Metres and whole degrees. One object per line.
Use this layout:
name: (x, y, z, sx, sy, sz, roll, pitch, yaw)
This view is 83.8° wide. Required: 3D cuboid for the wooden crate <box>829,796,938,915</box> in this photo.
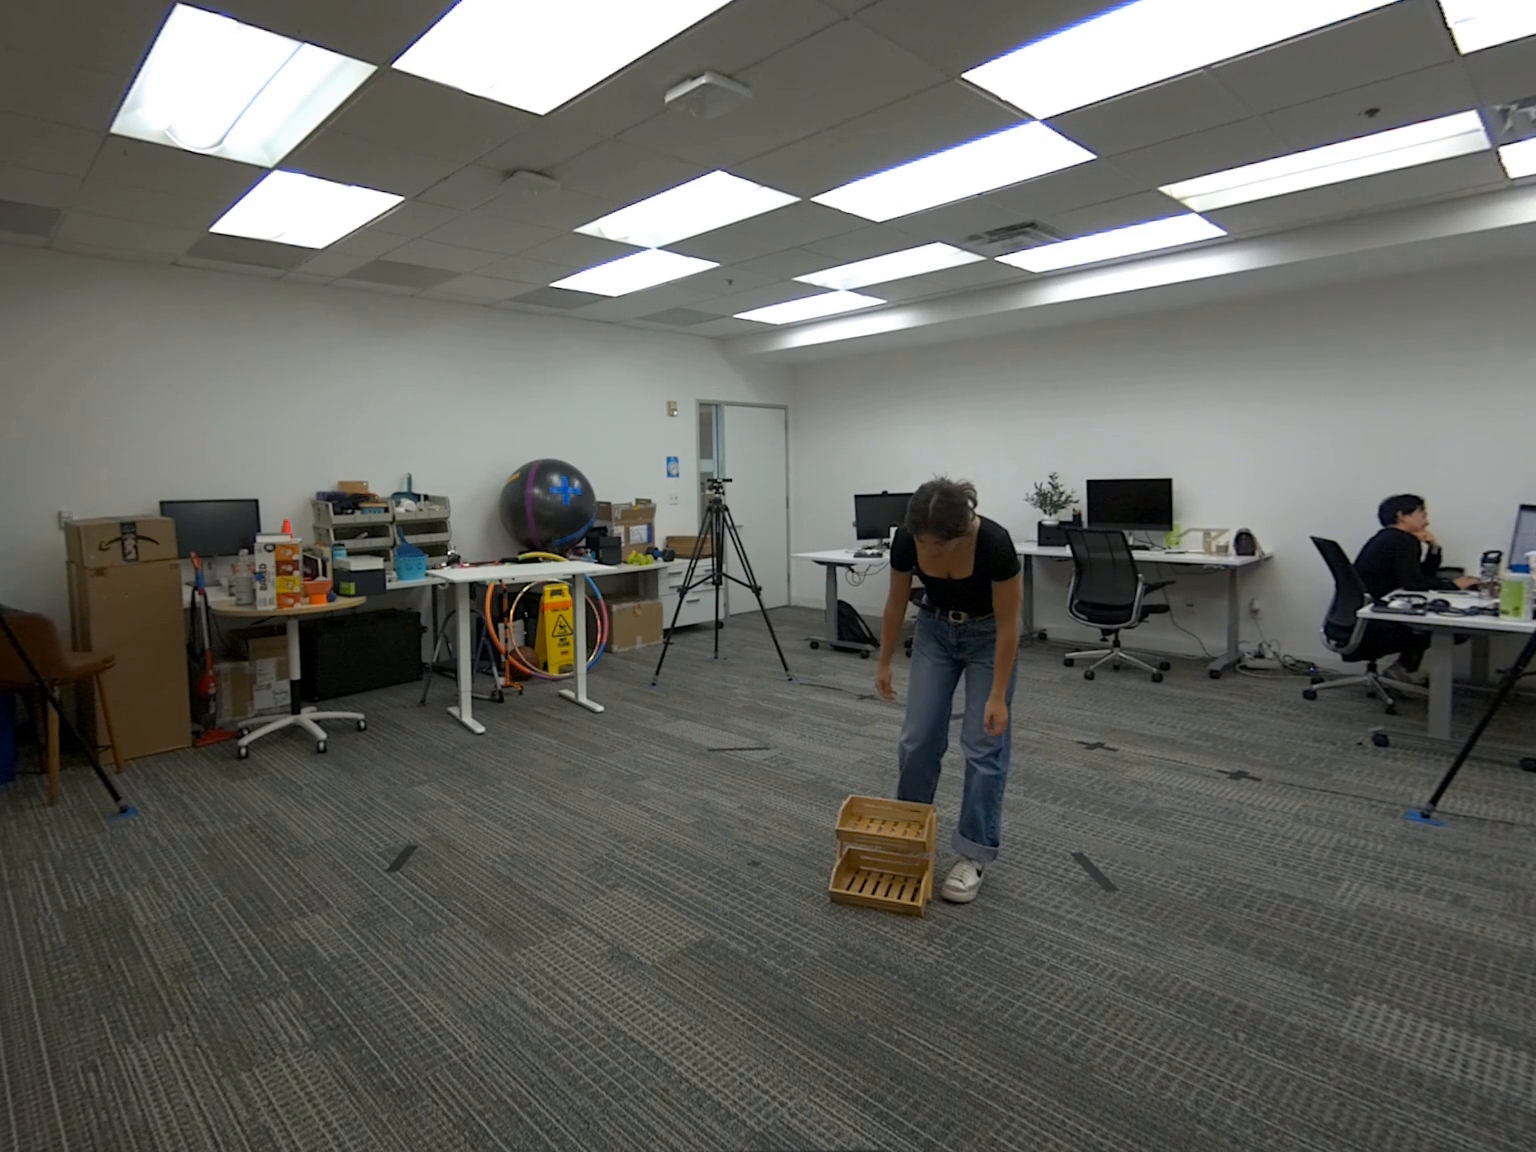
wooden crate: (0.392, 0.934, 2.867, 0.331, 0.272, 0.297, 1, 5, 21)
